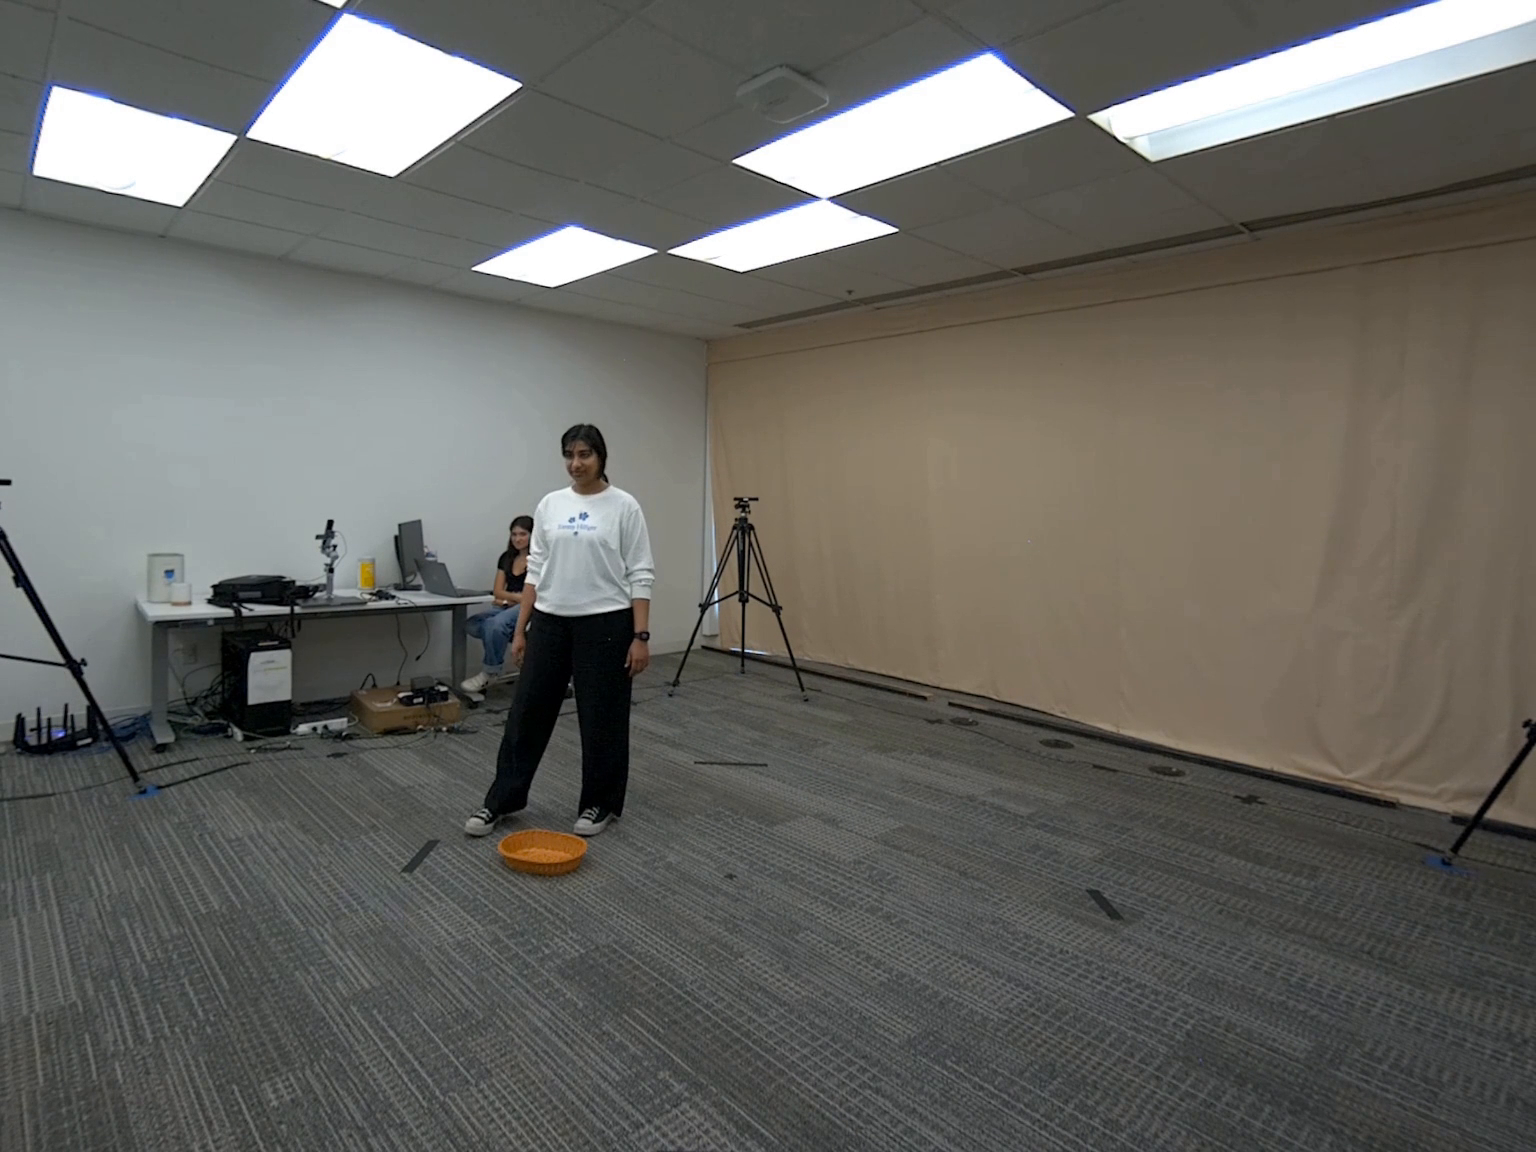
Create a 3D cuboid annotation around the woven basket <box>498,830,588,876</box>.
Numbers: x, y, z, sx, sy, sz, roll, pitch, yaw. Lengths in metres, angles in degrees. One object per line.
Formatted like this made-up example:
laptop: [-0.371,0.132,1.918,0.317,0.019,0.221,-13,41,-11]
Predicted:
woven basket: [-0.857,1.049,3.174,0.355,0.073,0.250,3,6,16]
